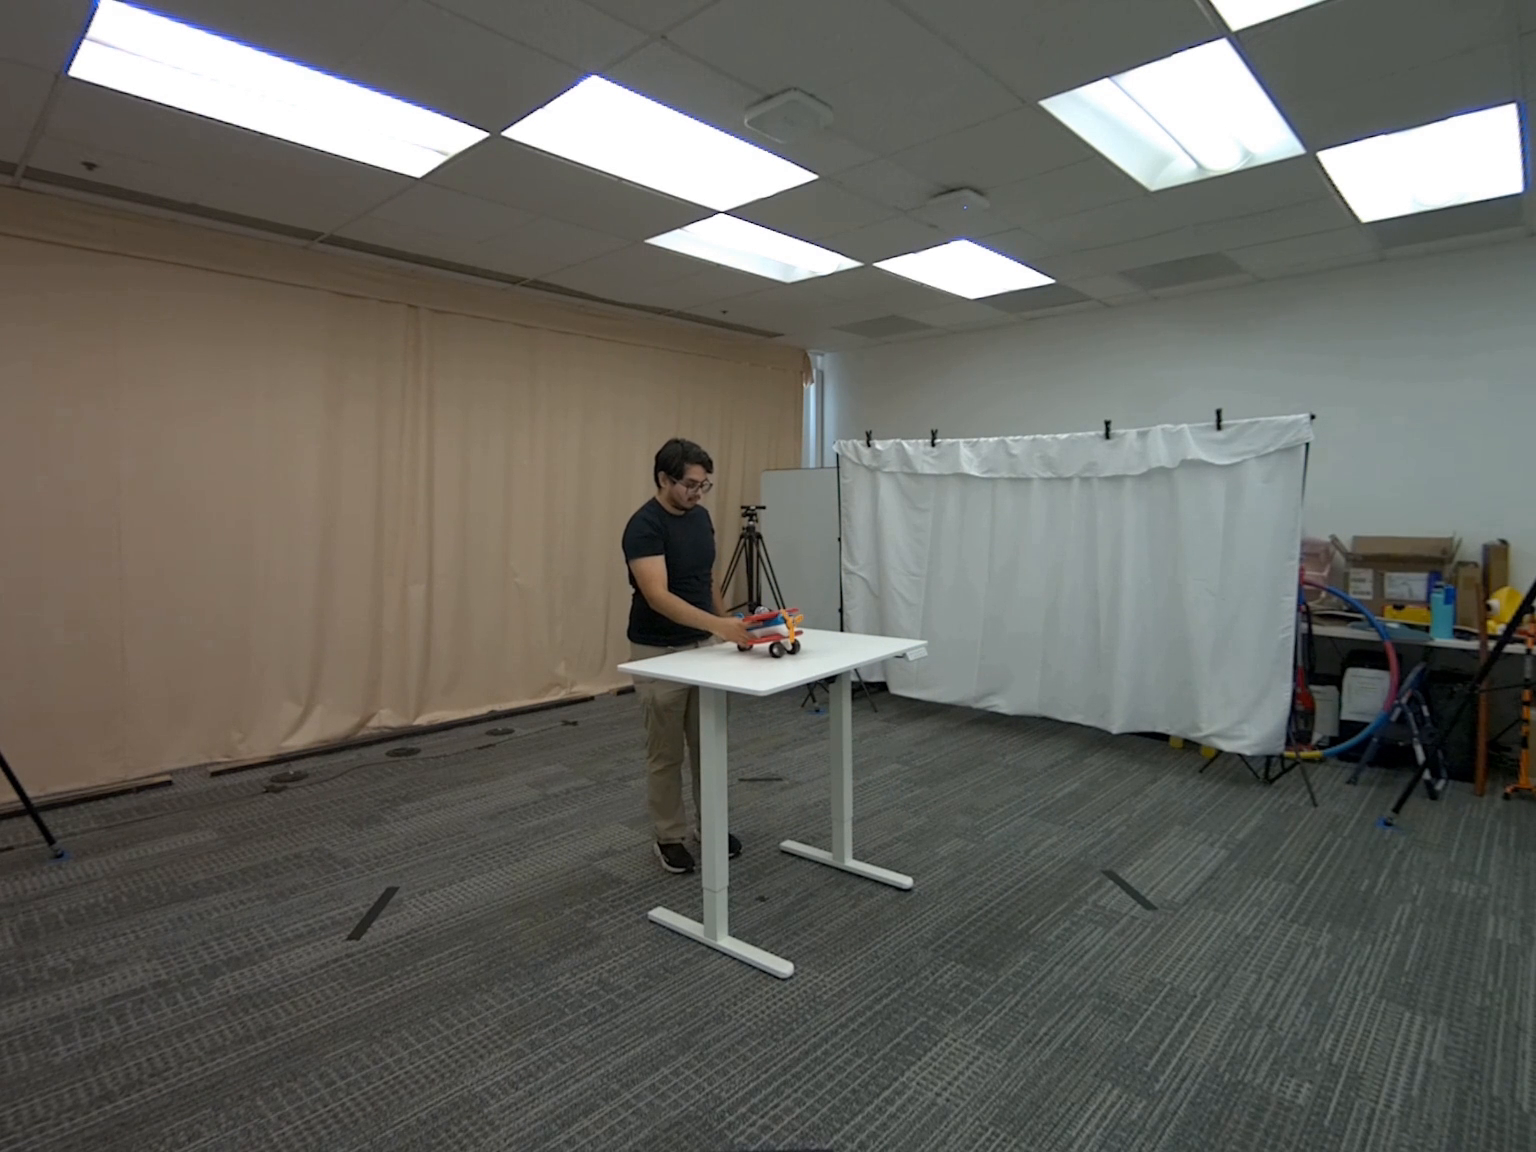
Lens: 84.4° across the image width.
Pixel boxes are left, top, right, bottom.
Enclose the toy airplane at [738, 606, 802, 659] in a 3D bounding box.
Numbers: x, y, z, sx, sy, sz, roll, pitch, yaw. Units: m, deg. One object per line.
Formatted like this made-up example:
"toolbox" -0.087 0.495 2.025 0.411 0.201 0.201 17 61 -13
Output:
"toy airplane" -0.008 0.193 2.884 0.263 0.156 0.248 1 5 13
